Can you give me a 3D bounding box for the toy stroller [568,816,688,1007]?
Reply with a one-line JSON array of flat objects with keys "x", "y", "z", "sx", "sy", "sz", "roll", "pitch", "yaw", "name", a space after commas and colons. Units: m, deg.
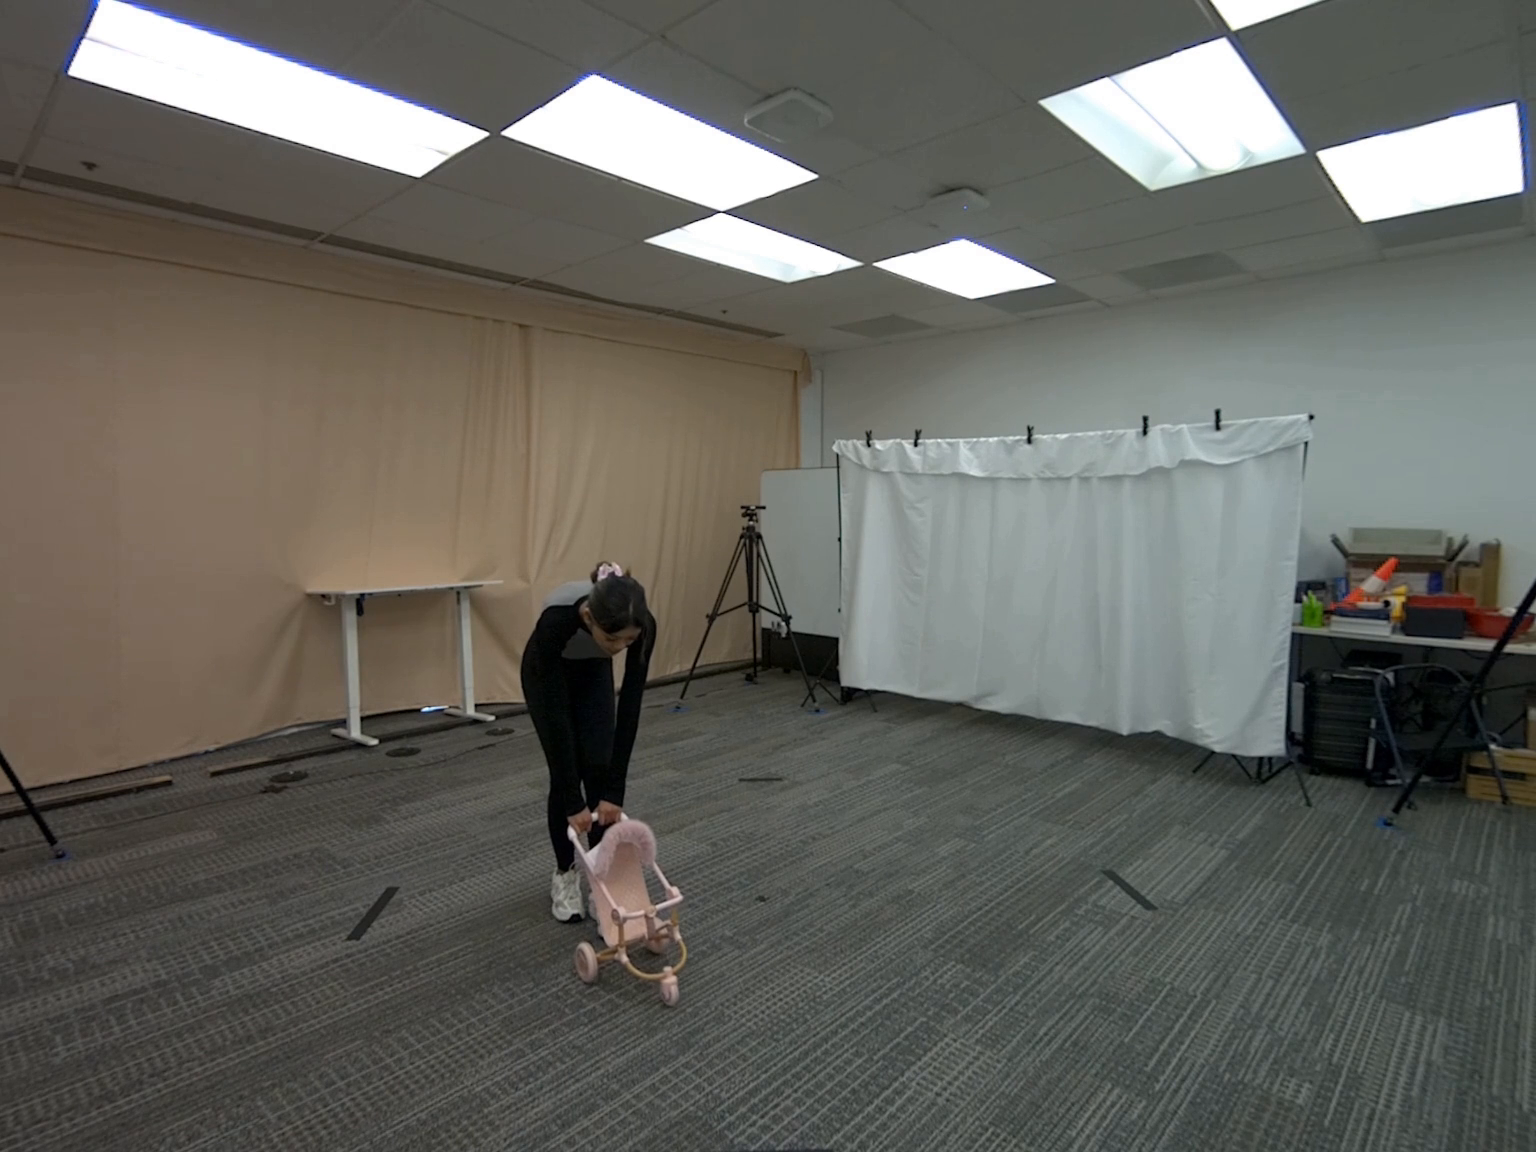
[{"x": -0.404, "y": 0.965, "z": 2.489, "sx": 0.273, "sy": 0.539, "sz": 0.348, "roll": -3, "pitch": -12, "yaw": -36, "name": "toy stroller"}]
